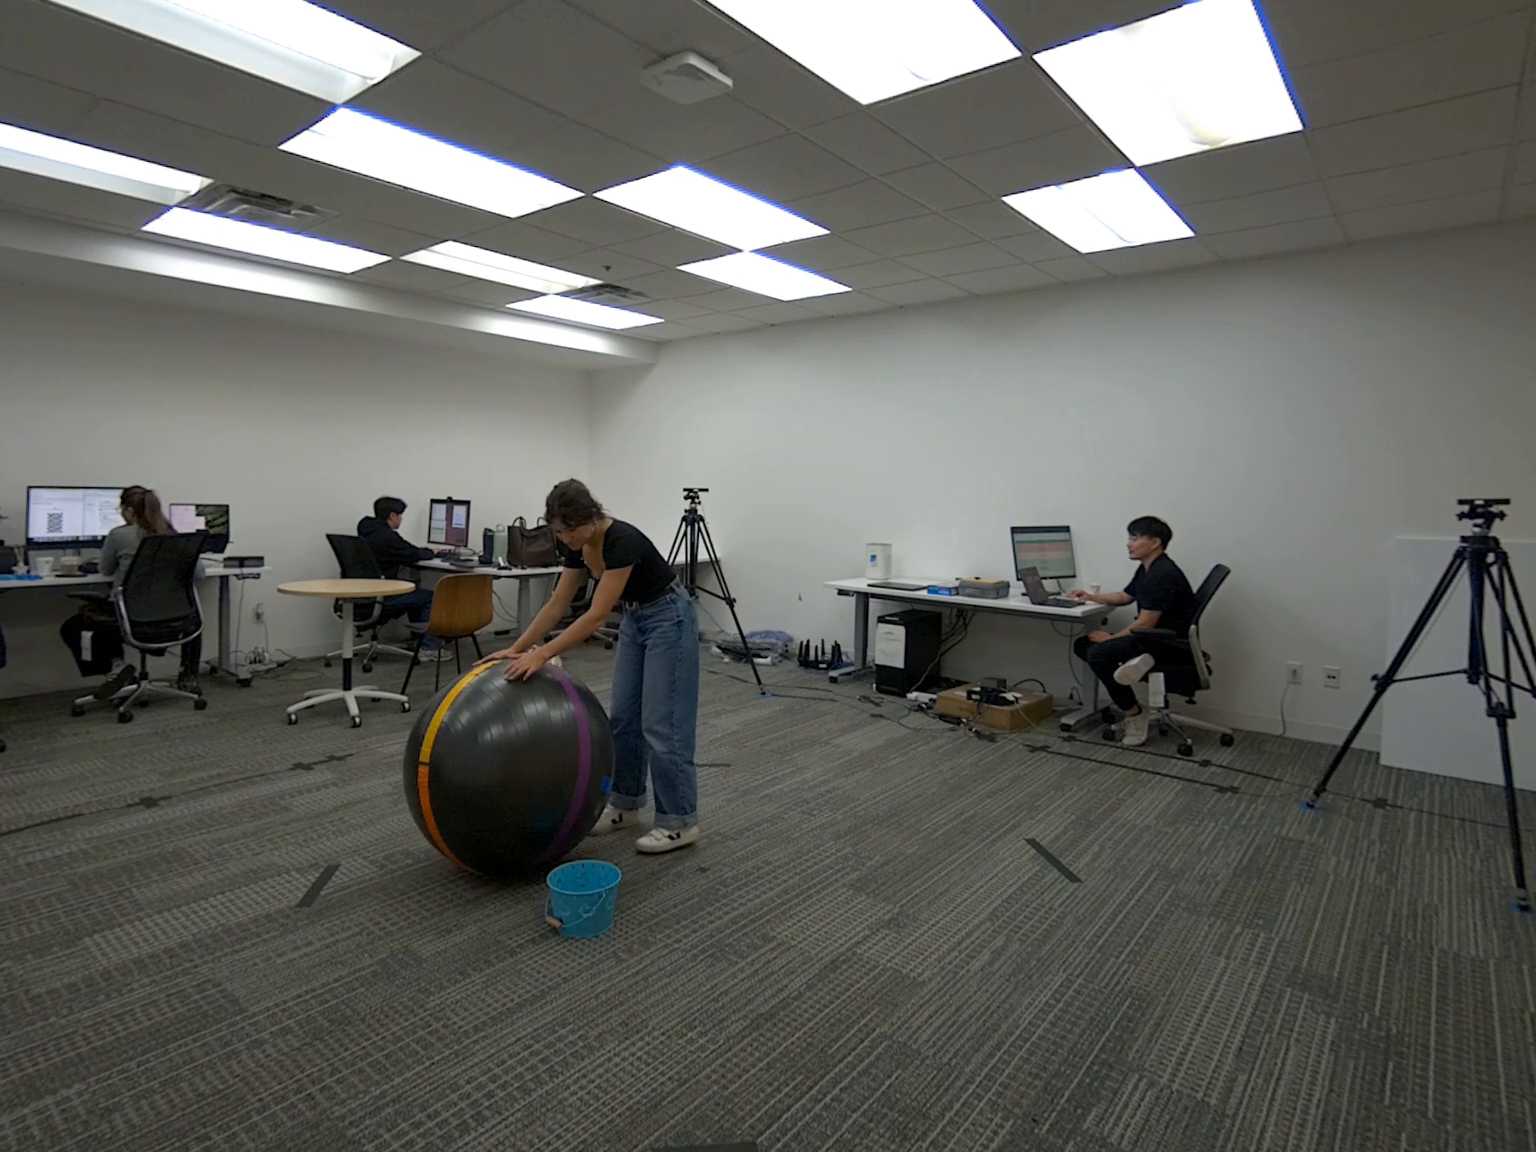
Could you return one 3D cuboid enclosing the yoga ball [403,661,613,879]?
[{"bbox_3d":[-0.949,0.684,3.114,0.757,0.756,0.762,1,4,-2],"label":"yoga ball"}]
